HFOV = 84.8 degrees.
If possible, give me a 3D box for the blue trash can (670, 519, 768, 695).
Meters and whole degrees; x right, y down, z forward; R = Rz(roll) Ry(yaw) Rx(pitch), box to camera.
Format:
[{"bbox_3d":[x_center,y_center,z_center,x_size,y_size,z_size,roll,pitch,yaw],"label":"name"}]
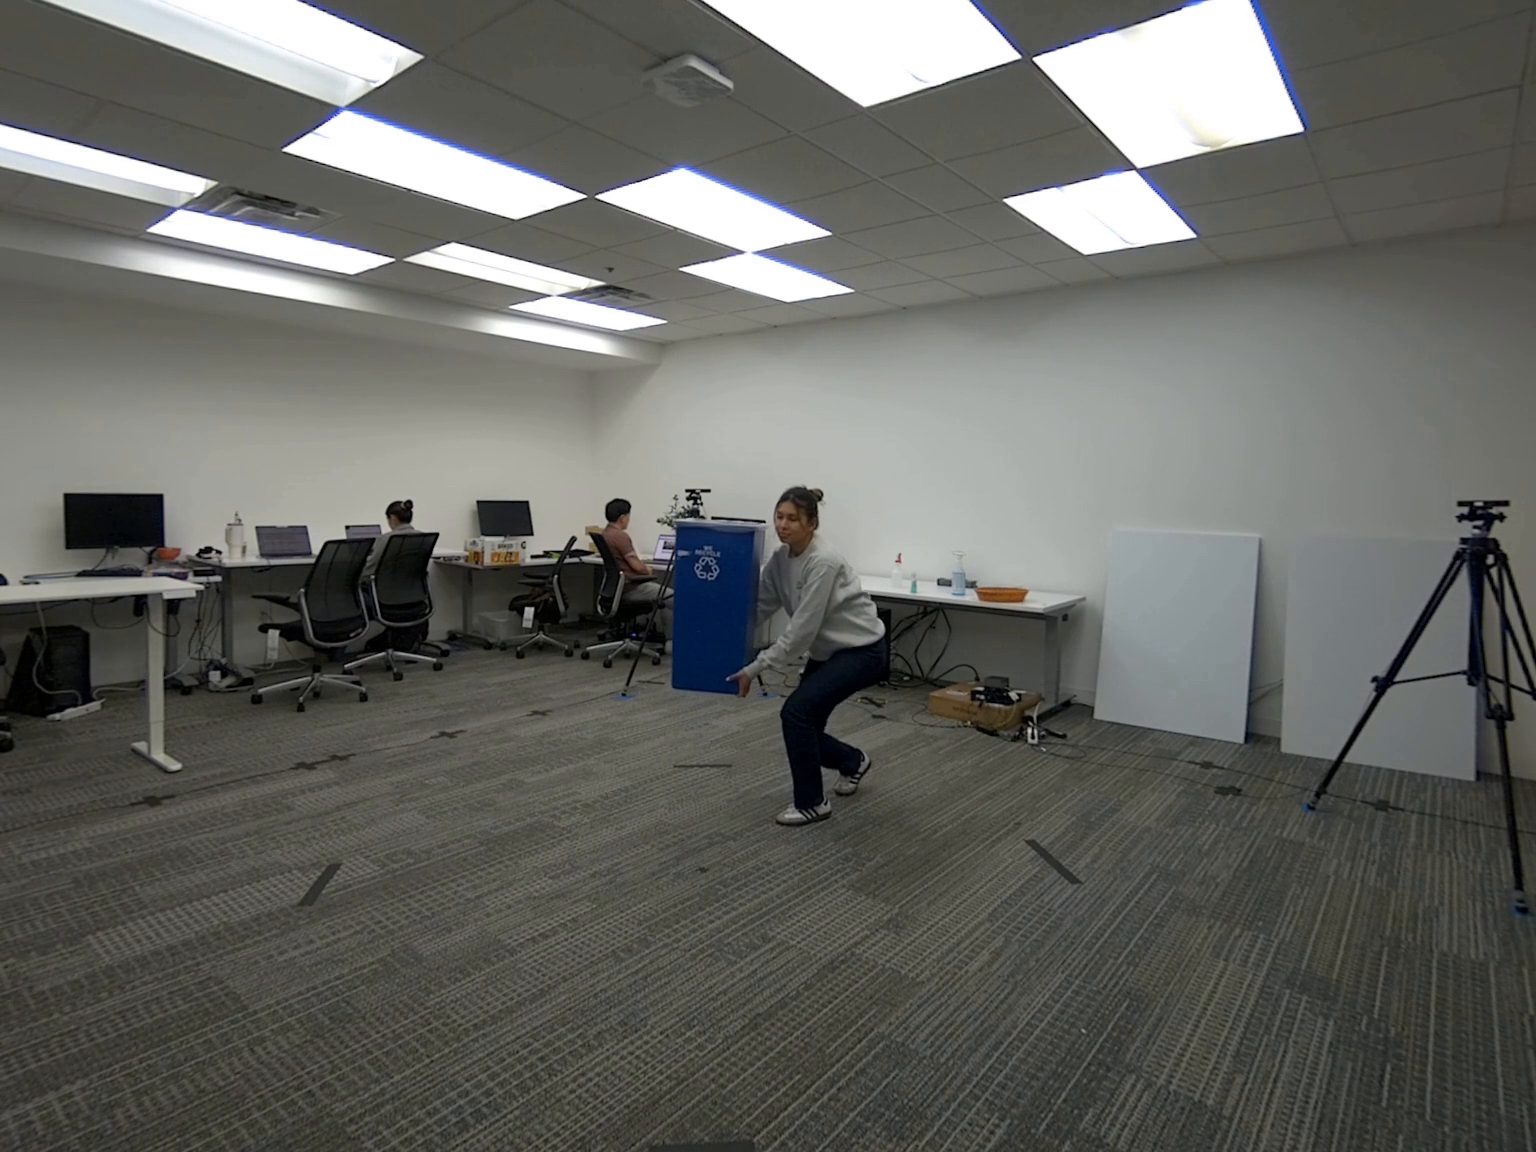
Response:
[{"bbox_3d":[-0.228,0.114,3.702,0.378,0.712,0.375,3,3,8],"label":"blue trash can"}]
